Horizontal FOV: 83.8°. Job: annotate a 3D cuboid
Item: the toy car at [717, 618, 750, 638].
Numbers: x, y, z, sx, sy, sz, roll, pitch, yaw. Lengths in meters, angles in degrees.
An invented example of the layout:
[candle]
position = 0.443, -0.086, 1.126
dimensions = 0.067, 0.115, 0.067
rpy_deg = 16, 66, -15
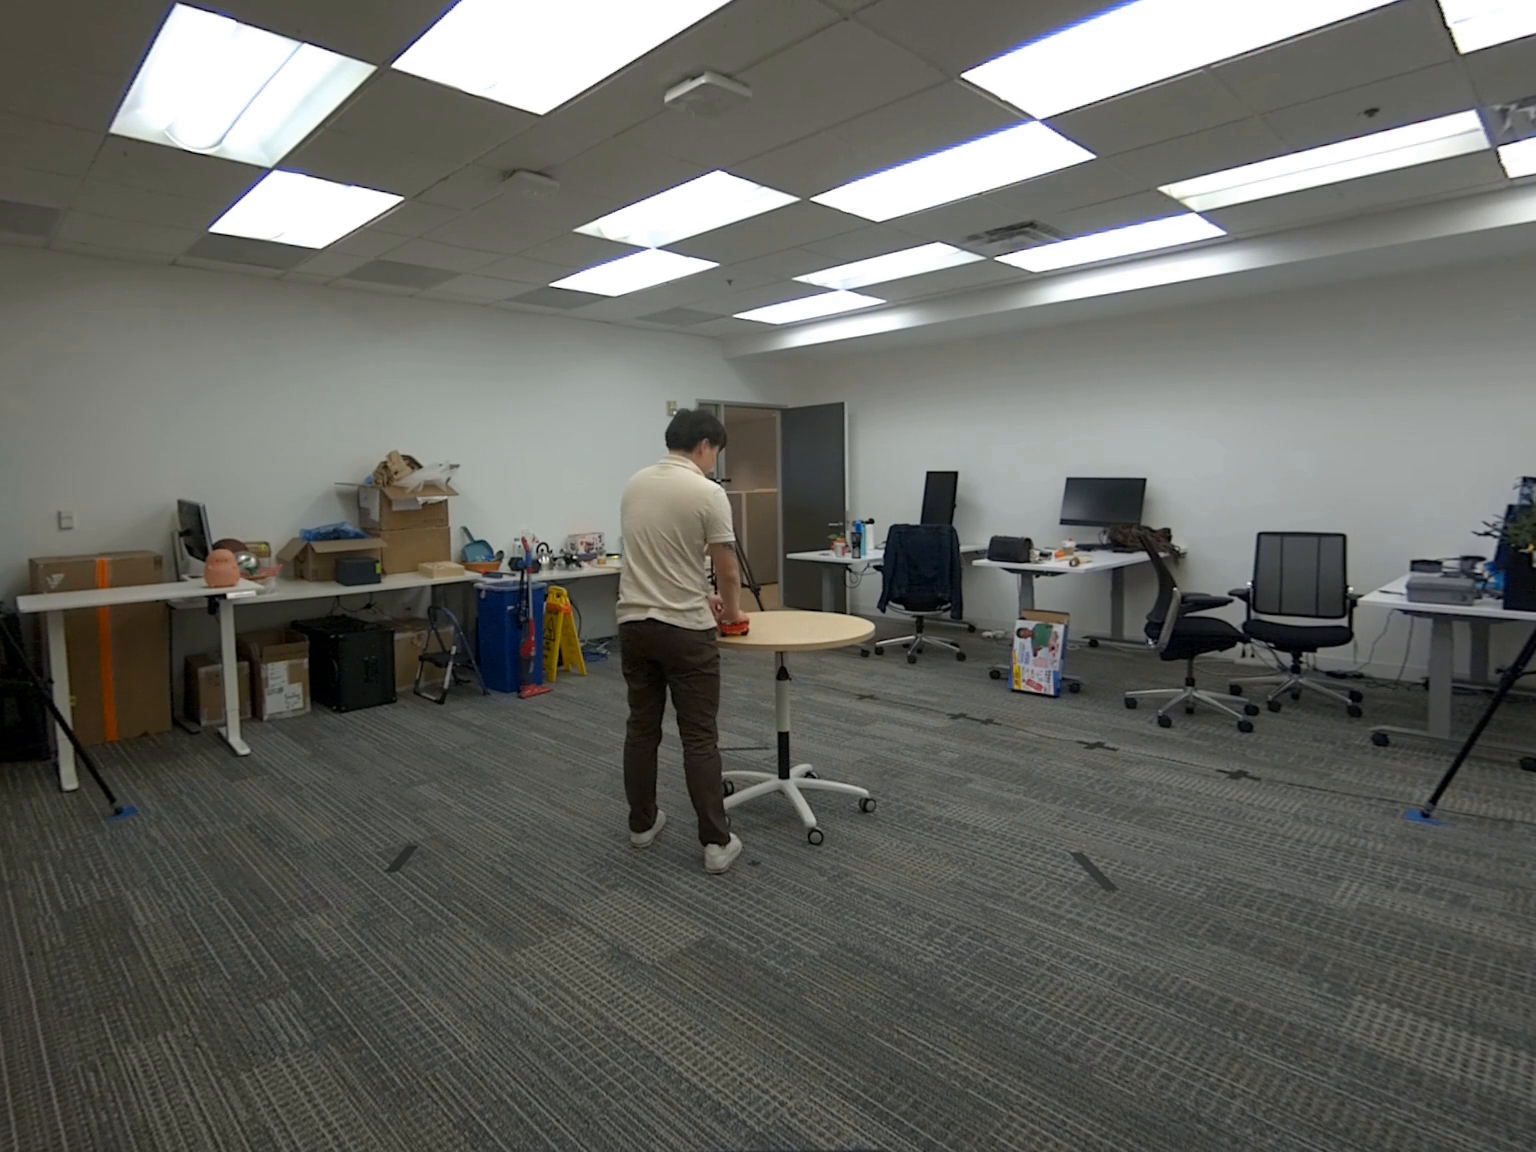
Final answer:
[toy car]
position = -0.156, 0.190, 3.455
dimensions = 0.129, 0.082, 0.262
rpy_deg = -4, 21, -14
